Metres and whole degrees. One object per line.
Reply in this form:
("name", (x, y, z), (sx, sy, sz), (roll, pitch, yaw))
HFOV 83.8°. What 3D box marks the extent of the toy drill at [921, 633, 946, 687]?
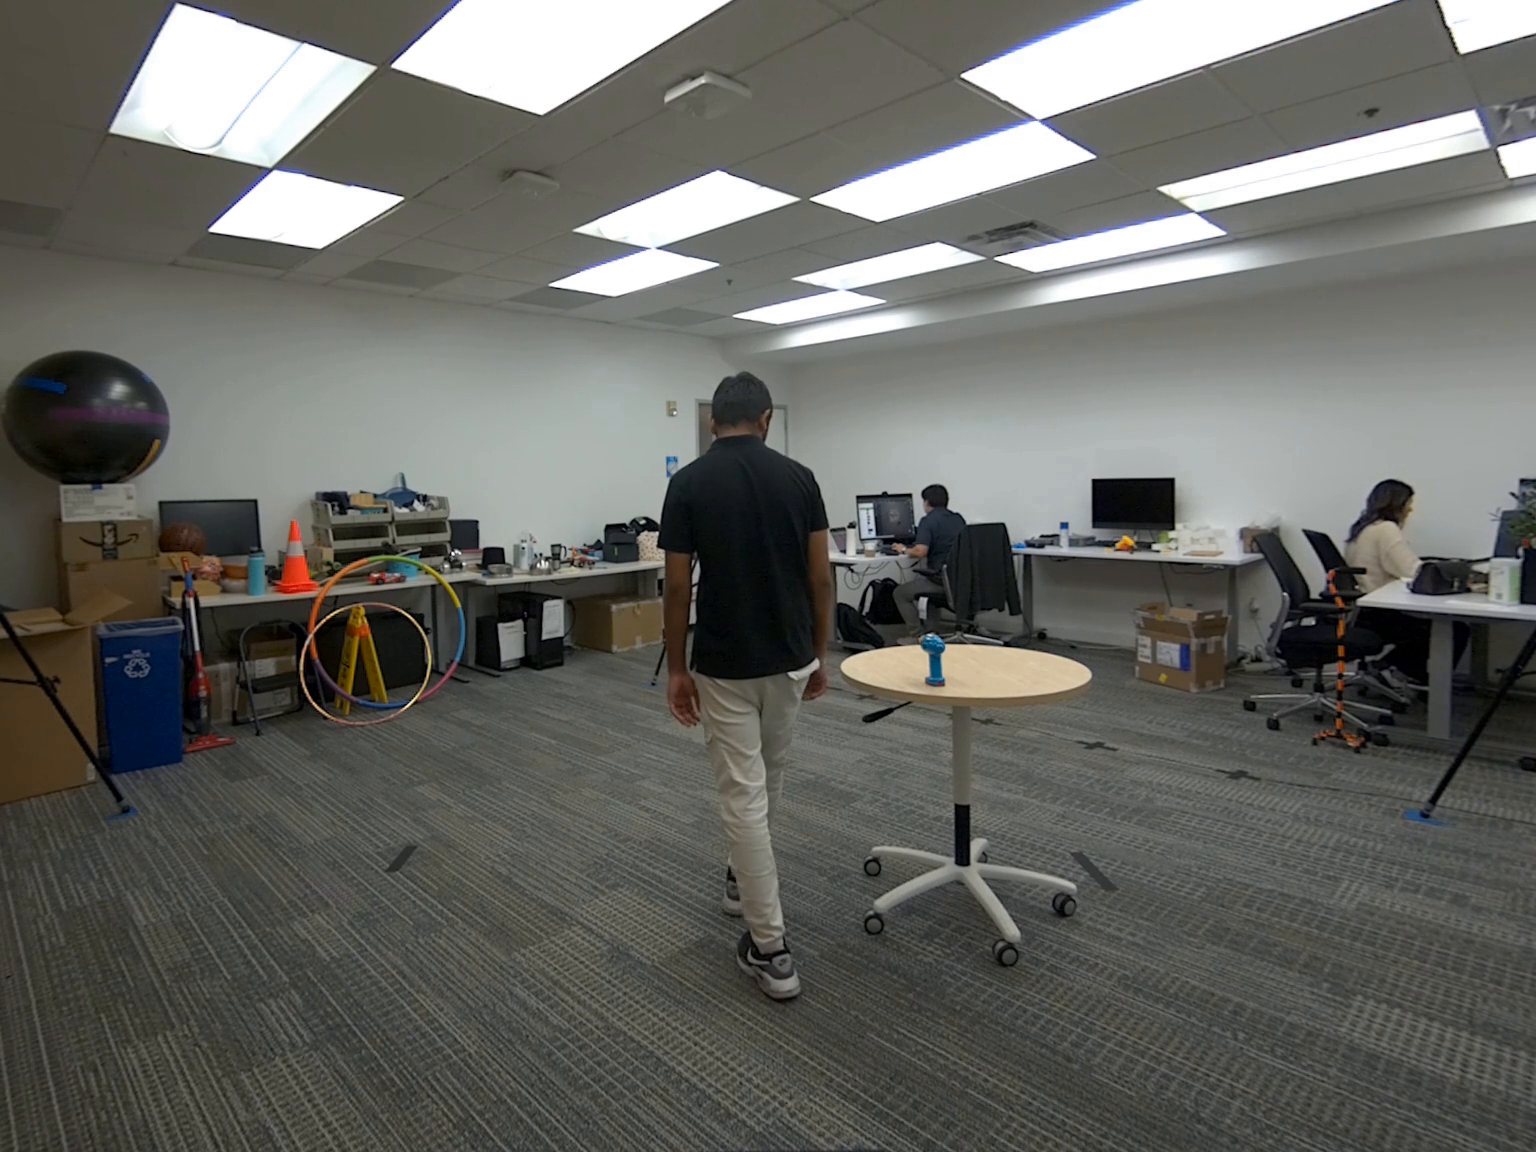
("toy drill", (0.485, 0.238, 2.554), (0.060, 0.145, 0.172), (-1, 5, -10))
